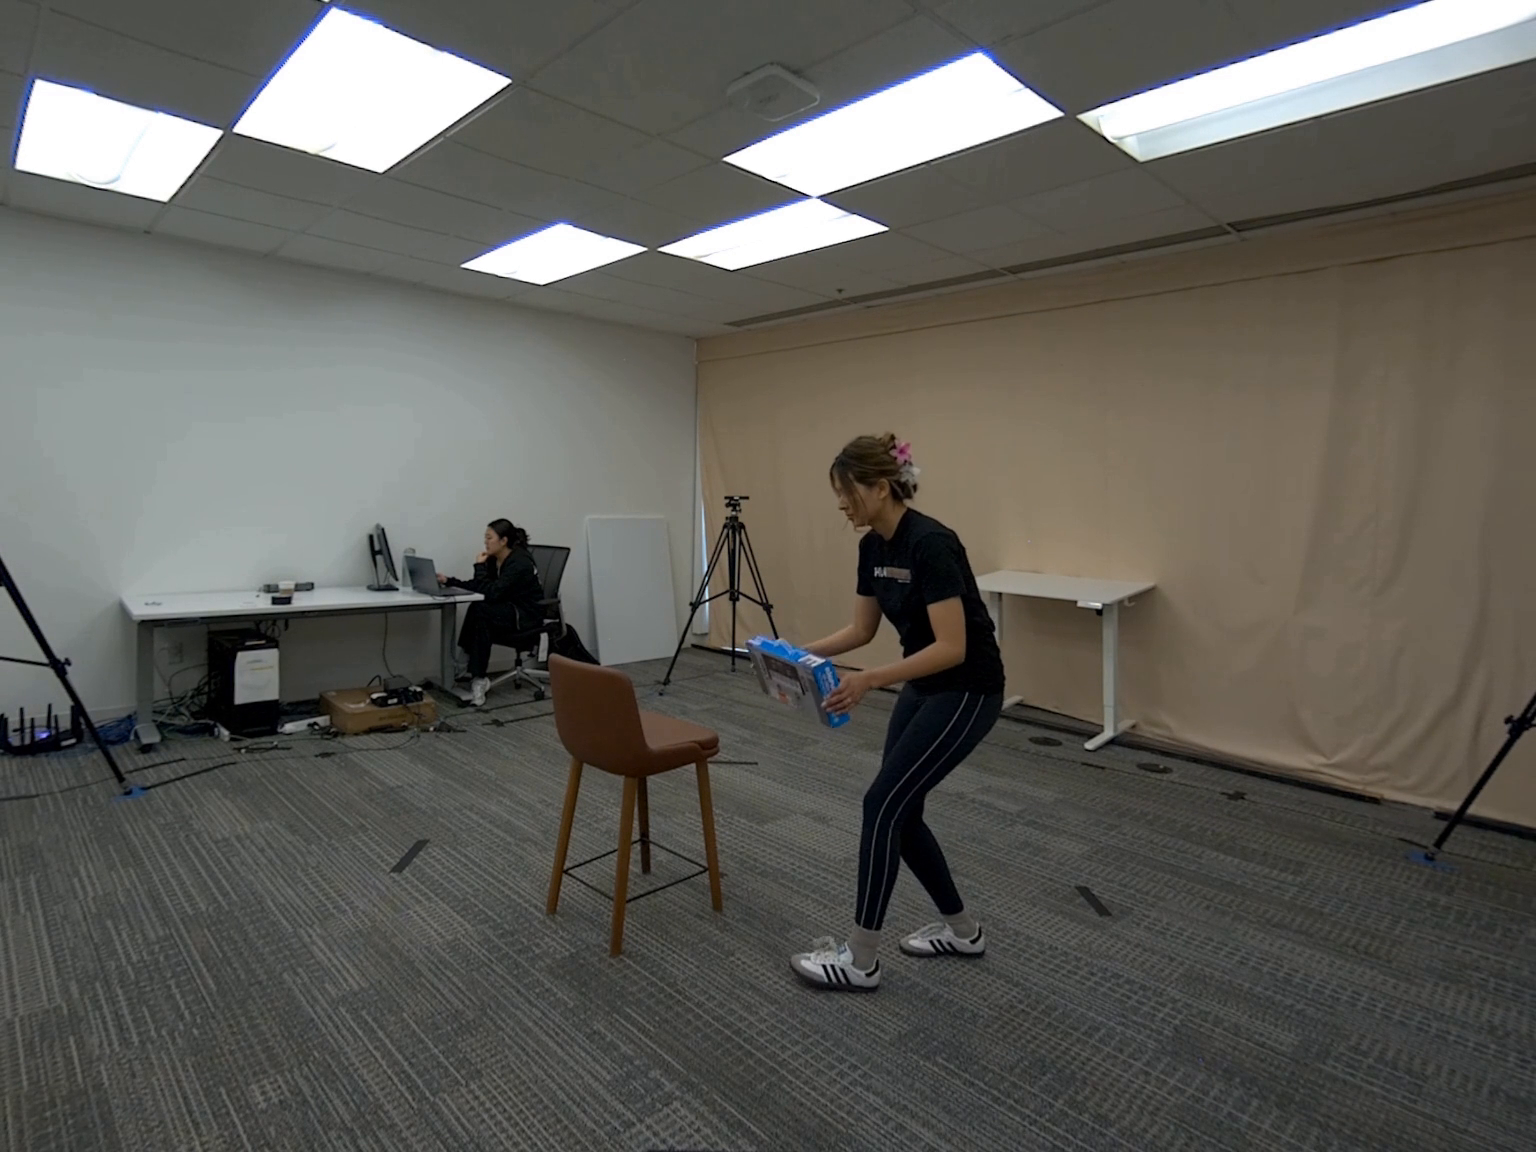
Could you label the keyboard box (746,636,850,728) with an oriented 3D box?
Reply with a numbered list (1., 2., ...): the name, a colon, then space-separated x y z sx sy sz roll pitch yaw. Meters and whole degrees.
1. keyboard box: 0.072 0.293 2.343 0.058 0.174 0.446 -21 13 -23
